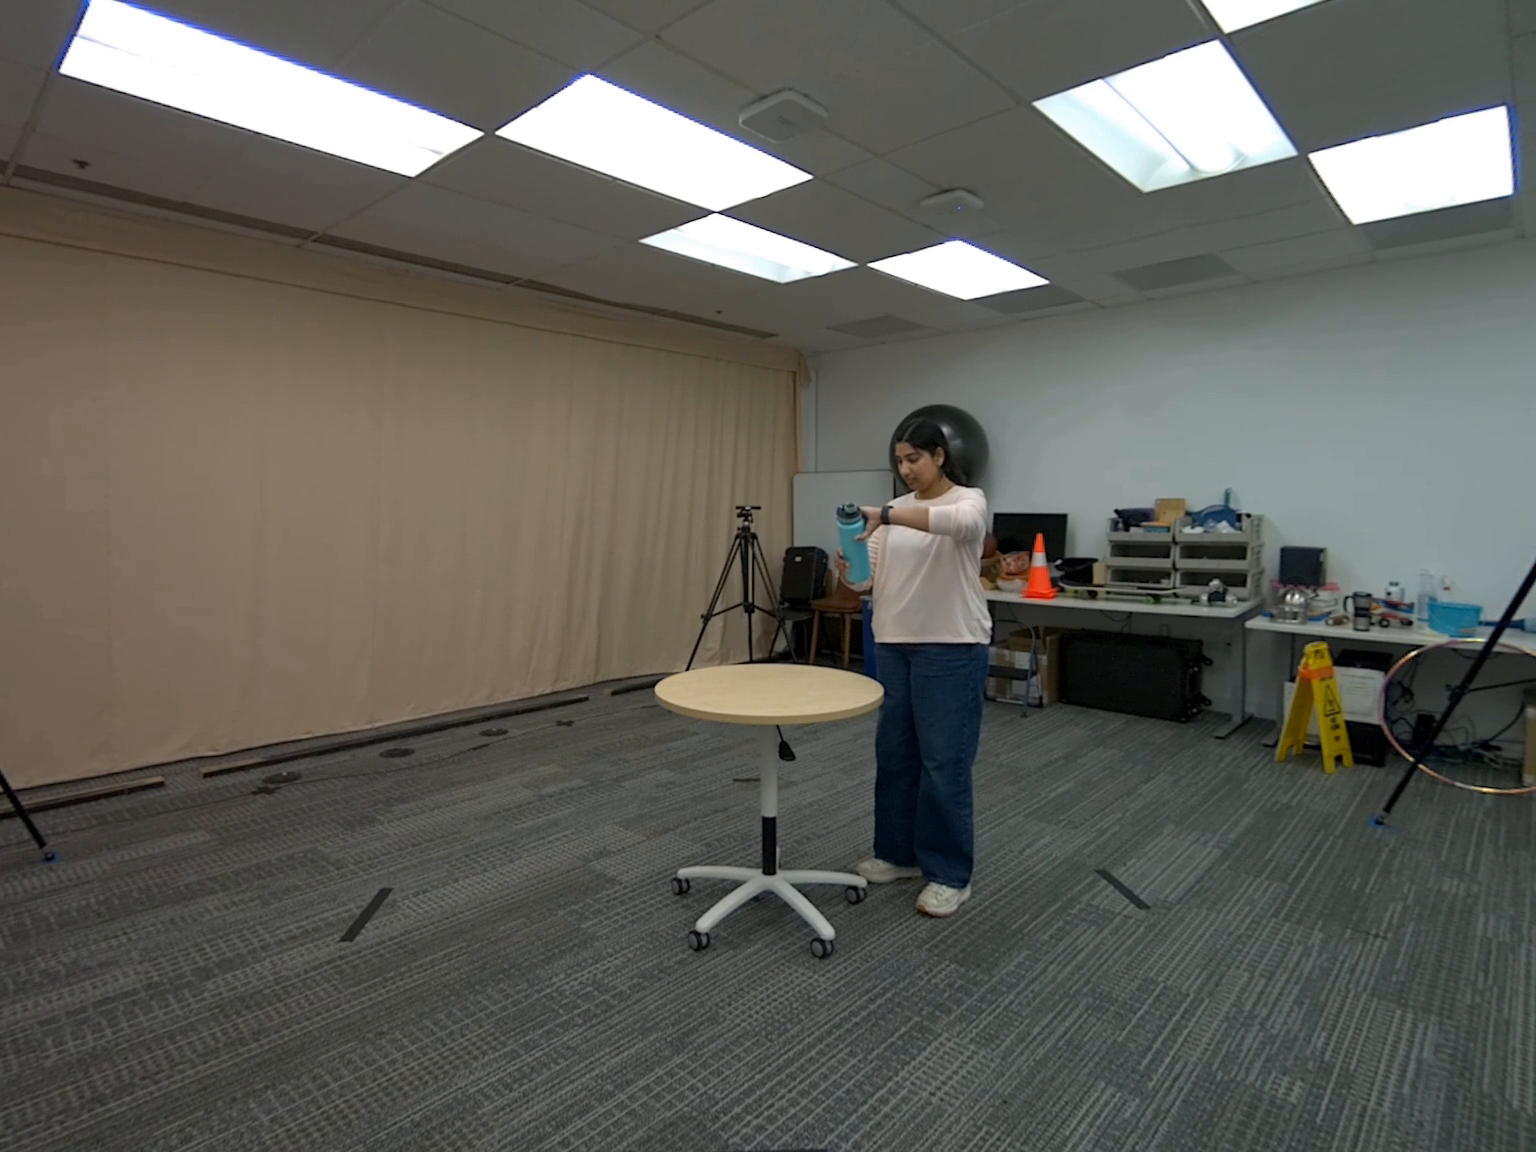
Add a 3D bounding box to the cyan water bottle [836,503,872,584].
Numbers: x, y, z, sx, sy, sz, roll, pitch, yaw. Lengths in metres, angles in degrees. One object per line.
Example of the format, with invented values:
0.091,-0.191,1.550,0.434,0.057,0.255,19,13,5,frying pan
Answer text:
0.294,-0.115,2.810,0.093,0.278,0.094,-12,24,3,cyan water bottle
